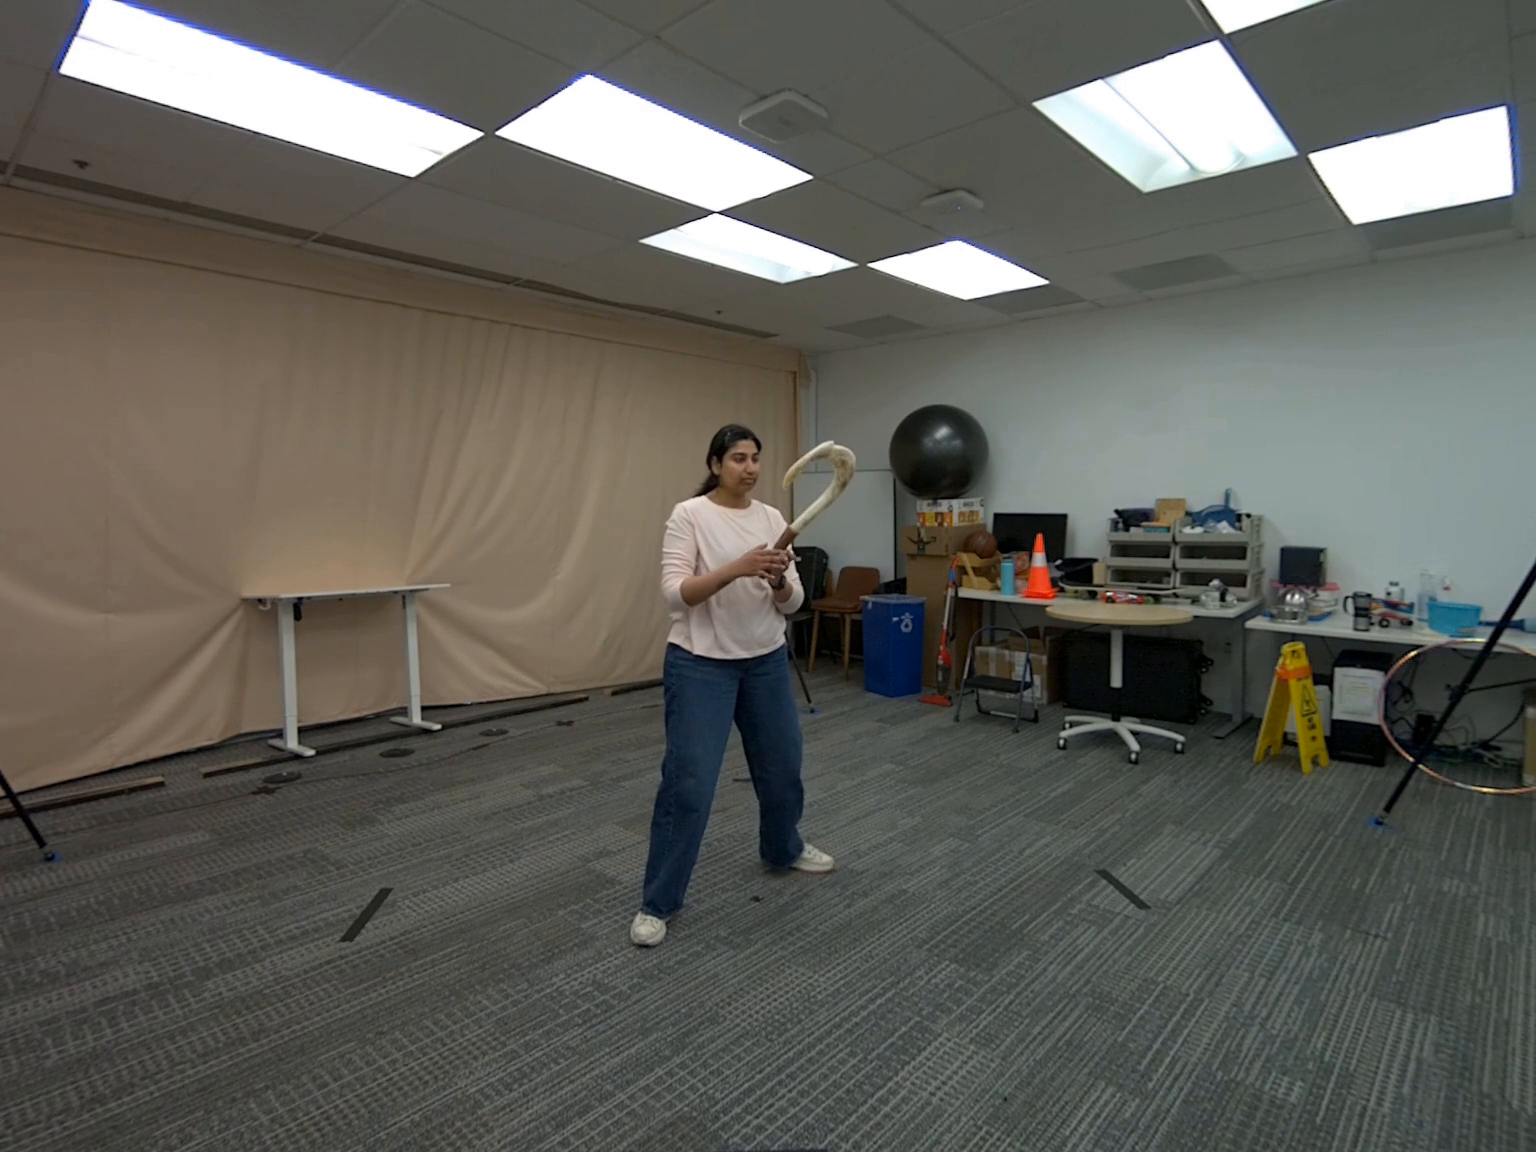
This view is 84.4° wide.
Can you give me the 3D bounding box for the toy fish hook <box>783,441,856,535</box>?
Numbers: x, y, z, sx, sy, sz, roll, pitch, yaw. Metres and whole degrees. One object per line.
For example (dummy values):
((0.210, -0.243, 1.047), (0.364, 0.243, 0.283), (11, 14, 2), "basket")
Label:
((0.084, -0.200, 2.605), (0.217, 0.507, 0.050), (21, 26, -32), "toy fish hook")
